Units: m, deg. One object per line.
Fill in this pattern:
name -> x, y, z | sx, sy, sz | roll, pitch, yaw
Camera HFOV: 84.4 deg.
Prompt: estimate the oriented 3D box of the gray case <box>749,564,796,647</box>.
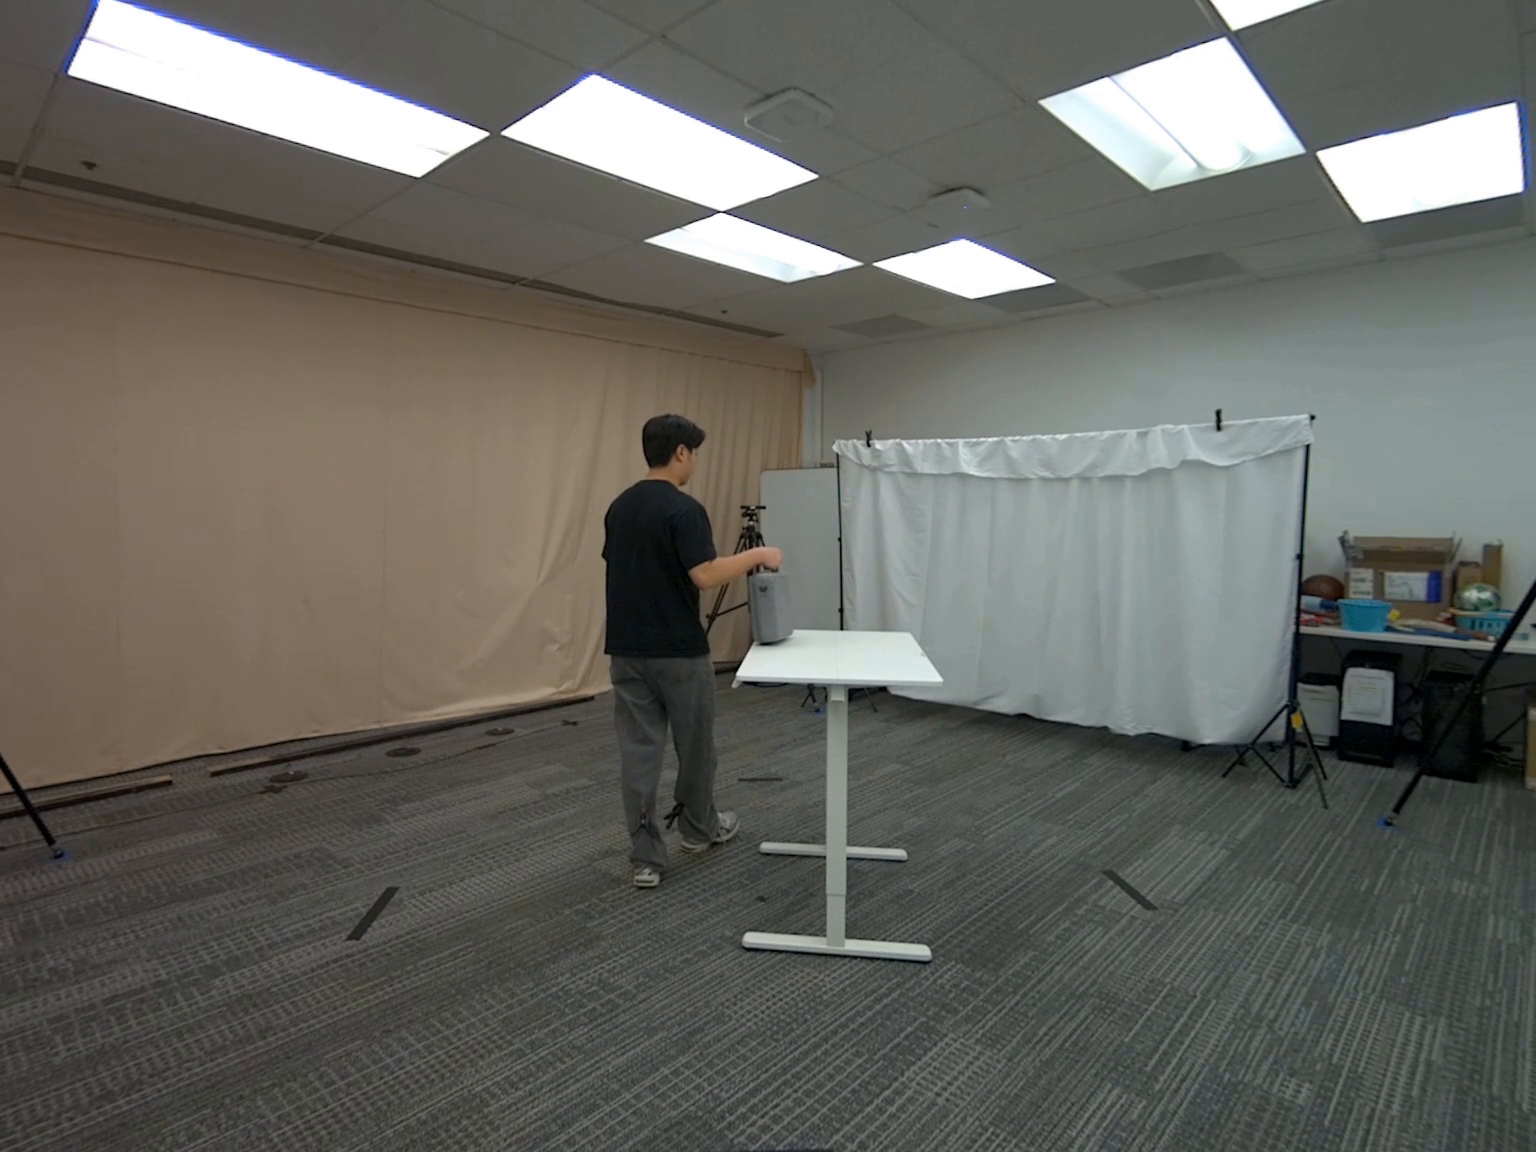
gray case -> 0.019, 0.100, 3.141 | 0.105, 0.287, 0.258 | -1, 0, 15
